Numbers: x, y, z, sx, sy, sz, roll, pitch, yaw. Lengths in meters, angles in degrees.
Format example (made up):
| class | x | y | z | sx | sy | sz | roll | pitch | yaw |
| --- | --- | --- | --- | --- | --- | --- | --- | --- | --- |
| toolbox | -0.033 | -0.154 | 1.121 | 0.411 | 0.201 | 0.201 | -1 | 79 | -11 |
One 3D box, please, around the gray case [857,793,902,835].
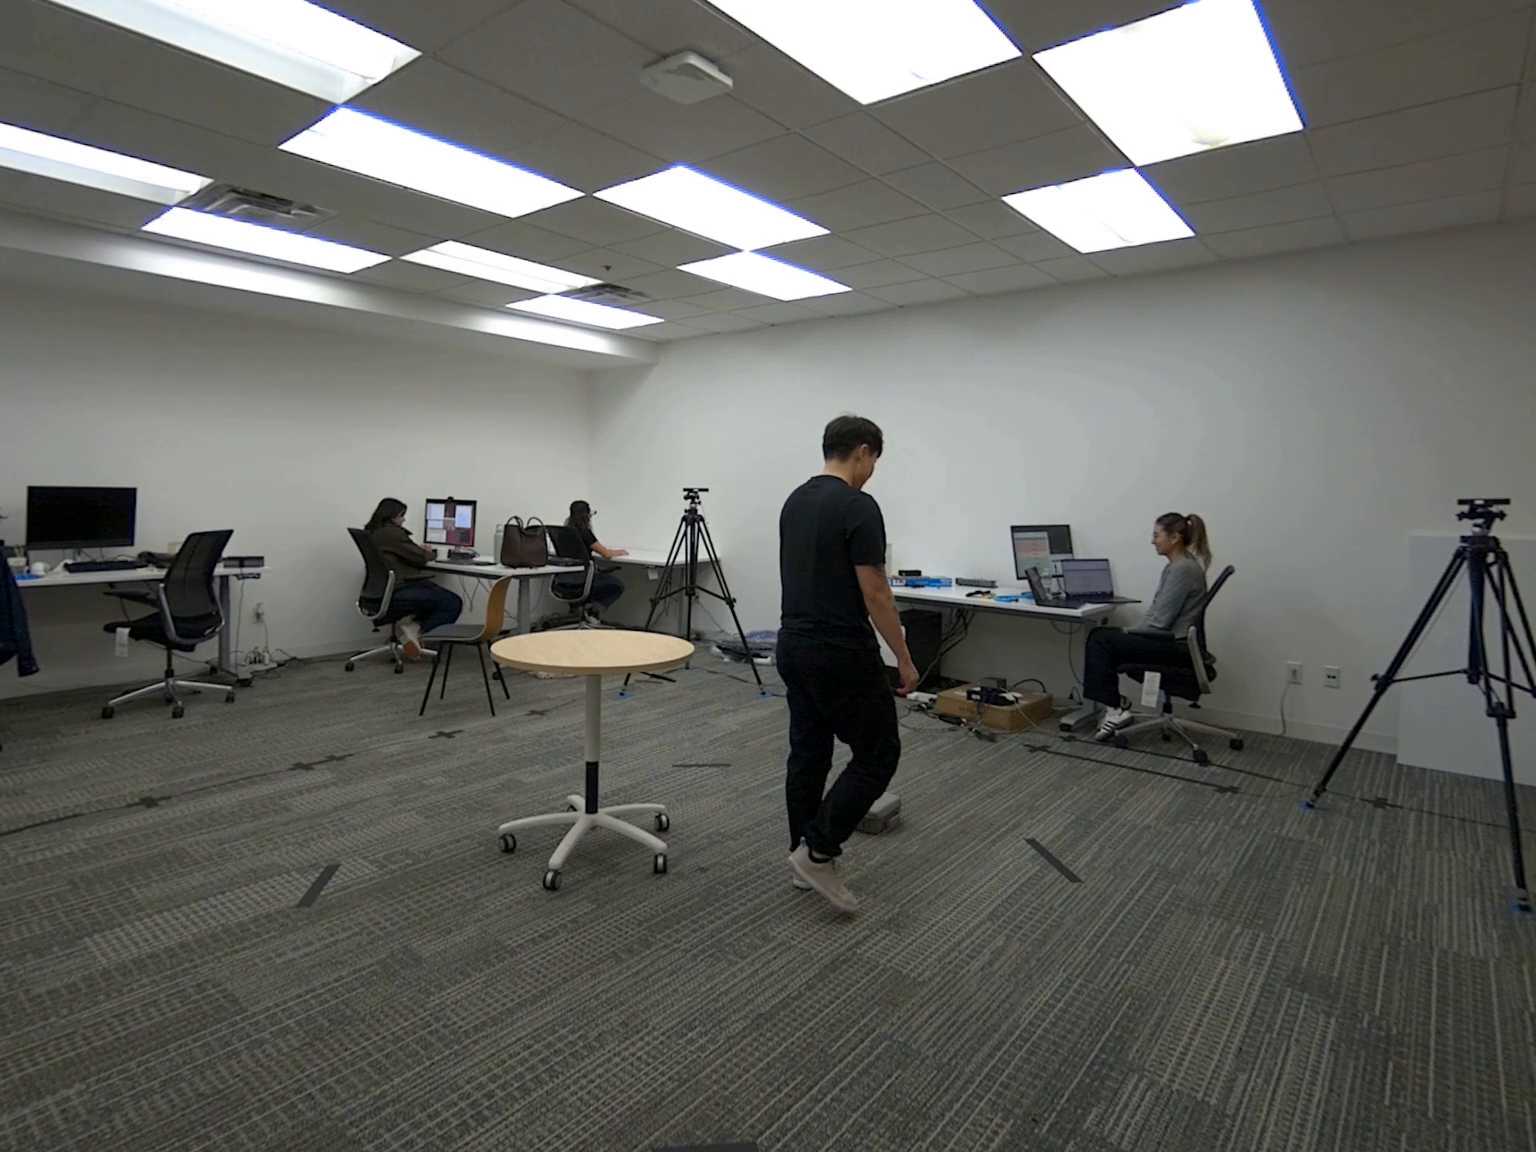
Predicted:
| class | x | y | z | sx | sy | sz | roll | pitch | yaw |
| --- | --- | --- | --- | --- | --- | --- | --- | --- | --- |
| gray case | 0.403 | 0.978 | 3.614 | 0.269 | 0.104 | 0.250 | 6 | 7 | 35 |
